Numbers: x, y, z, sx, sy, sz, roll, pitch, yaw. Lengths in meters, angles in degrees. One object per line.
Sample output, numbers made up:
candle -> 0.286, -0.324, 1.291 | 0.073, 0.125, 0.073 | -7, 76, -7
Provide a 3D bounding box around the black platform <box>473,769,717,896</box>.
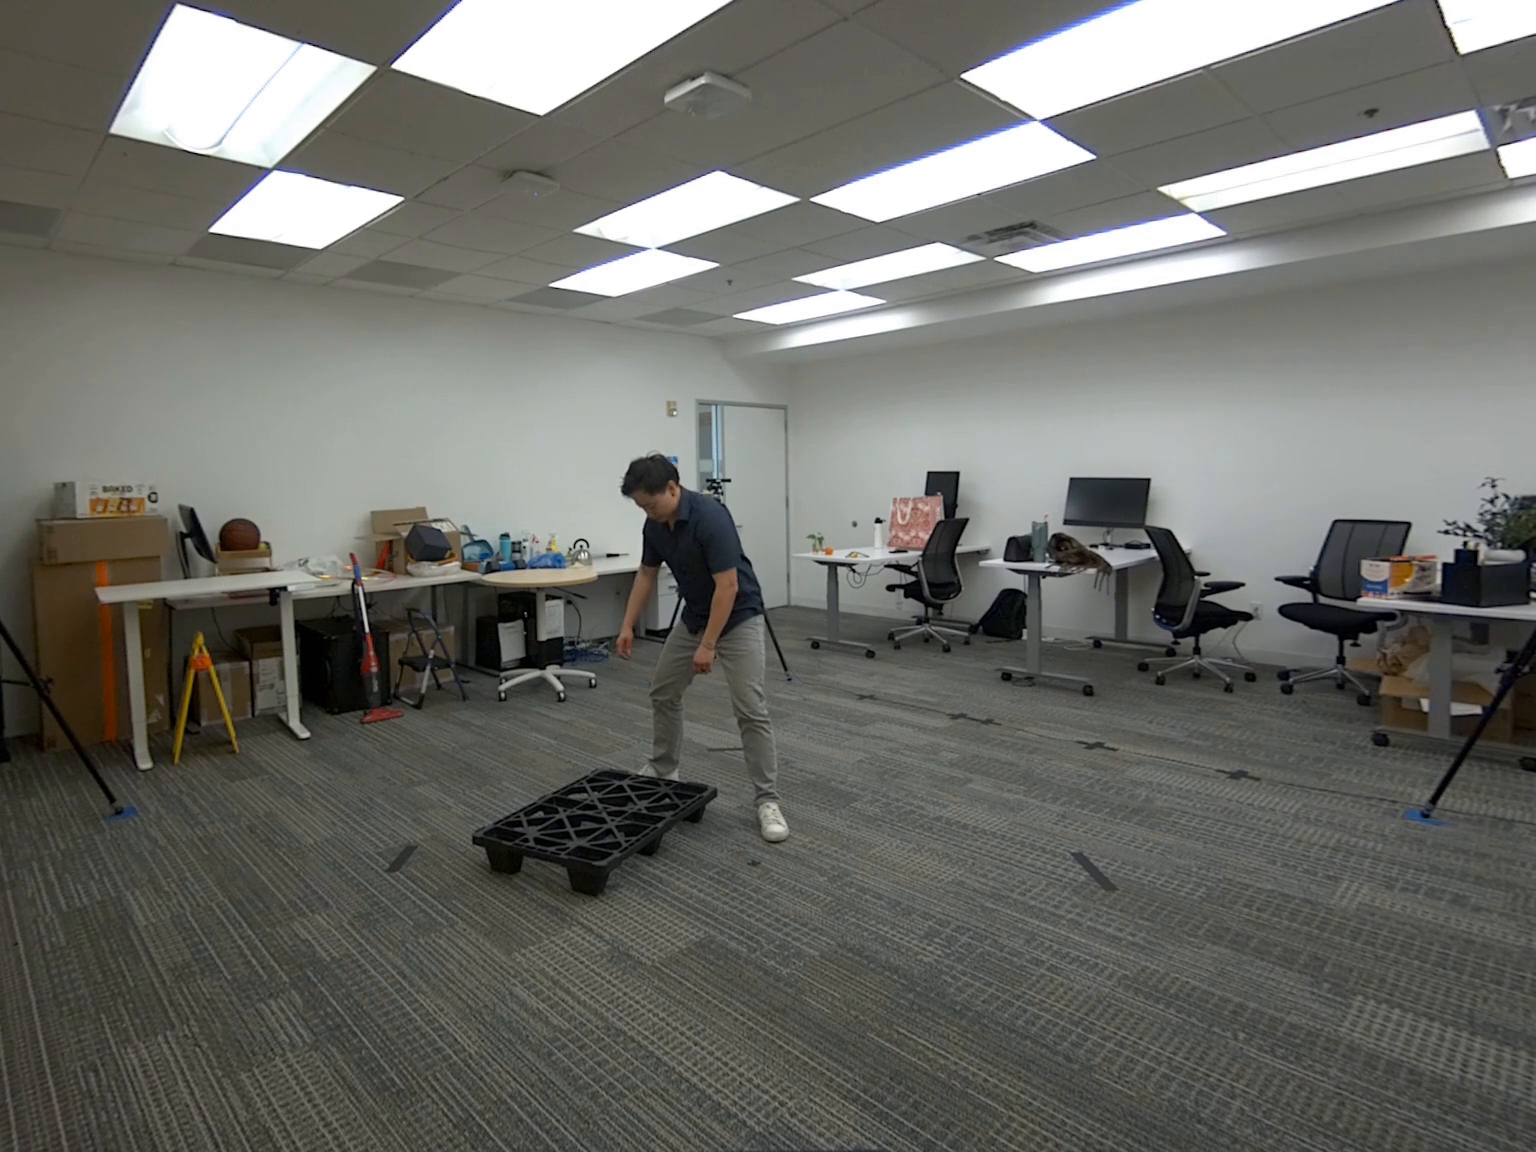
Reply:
black platform -> -0.630, 0.963, 3.302 | 0.620, 0.142, 0.790 | 2, 8, 27
